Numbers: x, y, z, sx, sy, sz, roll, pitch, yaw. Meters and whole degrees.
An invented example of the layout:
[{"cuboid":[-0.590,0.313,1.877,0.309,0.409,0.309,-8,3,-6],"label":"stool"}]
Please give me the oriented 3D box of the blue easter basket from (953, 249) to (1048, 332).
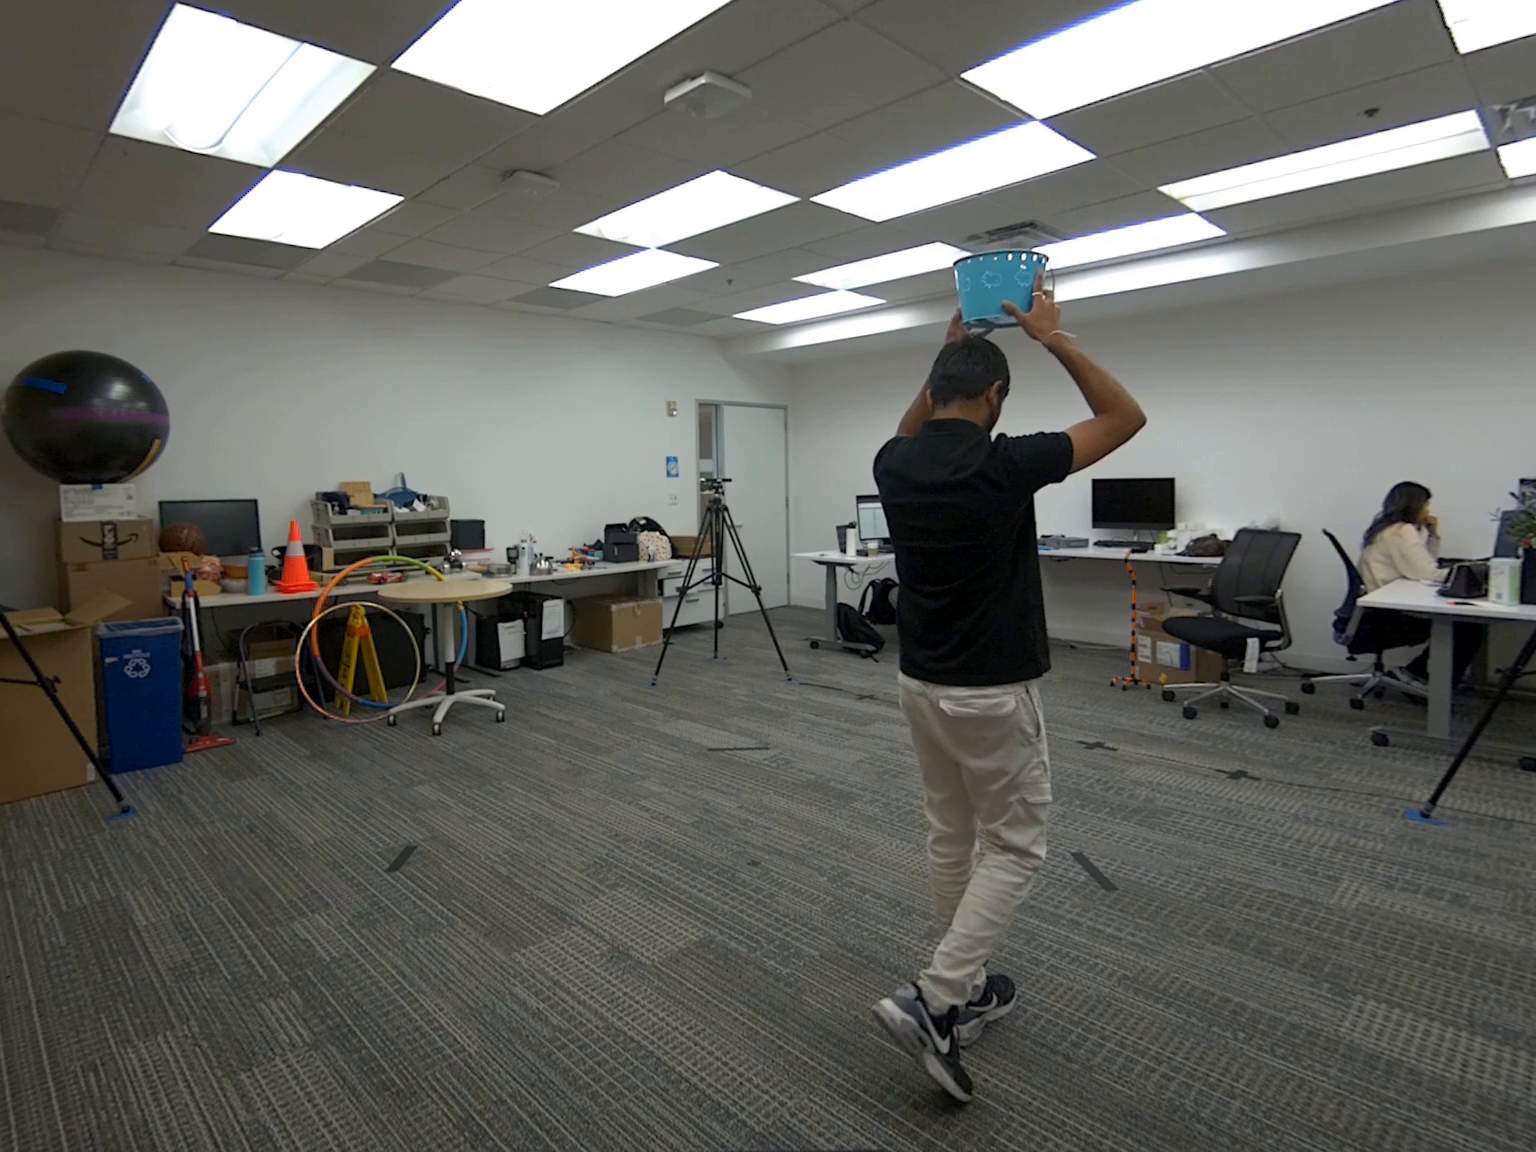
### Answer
[{"cuboid":[0.599,-0.717,2.122,0.243,0.155,0.245,-2,7,-1],"label":"blue easter basket"}]
